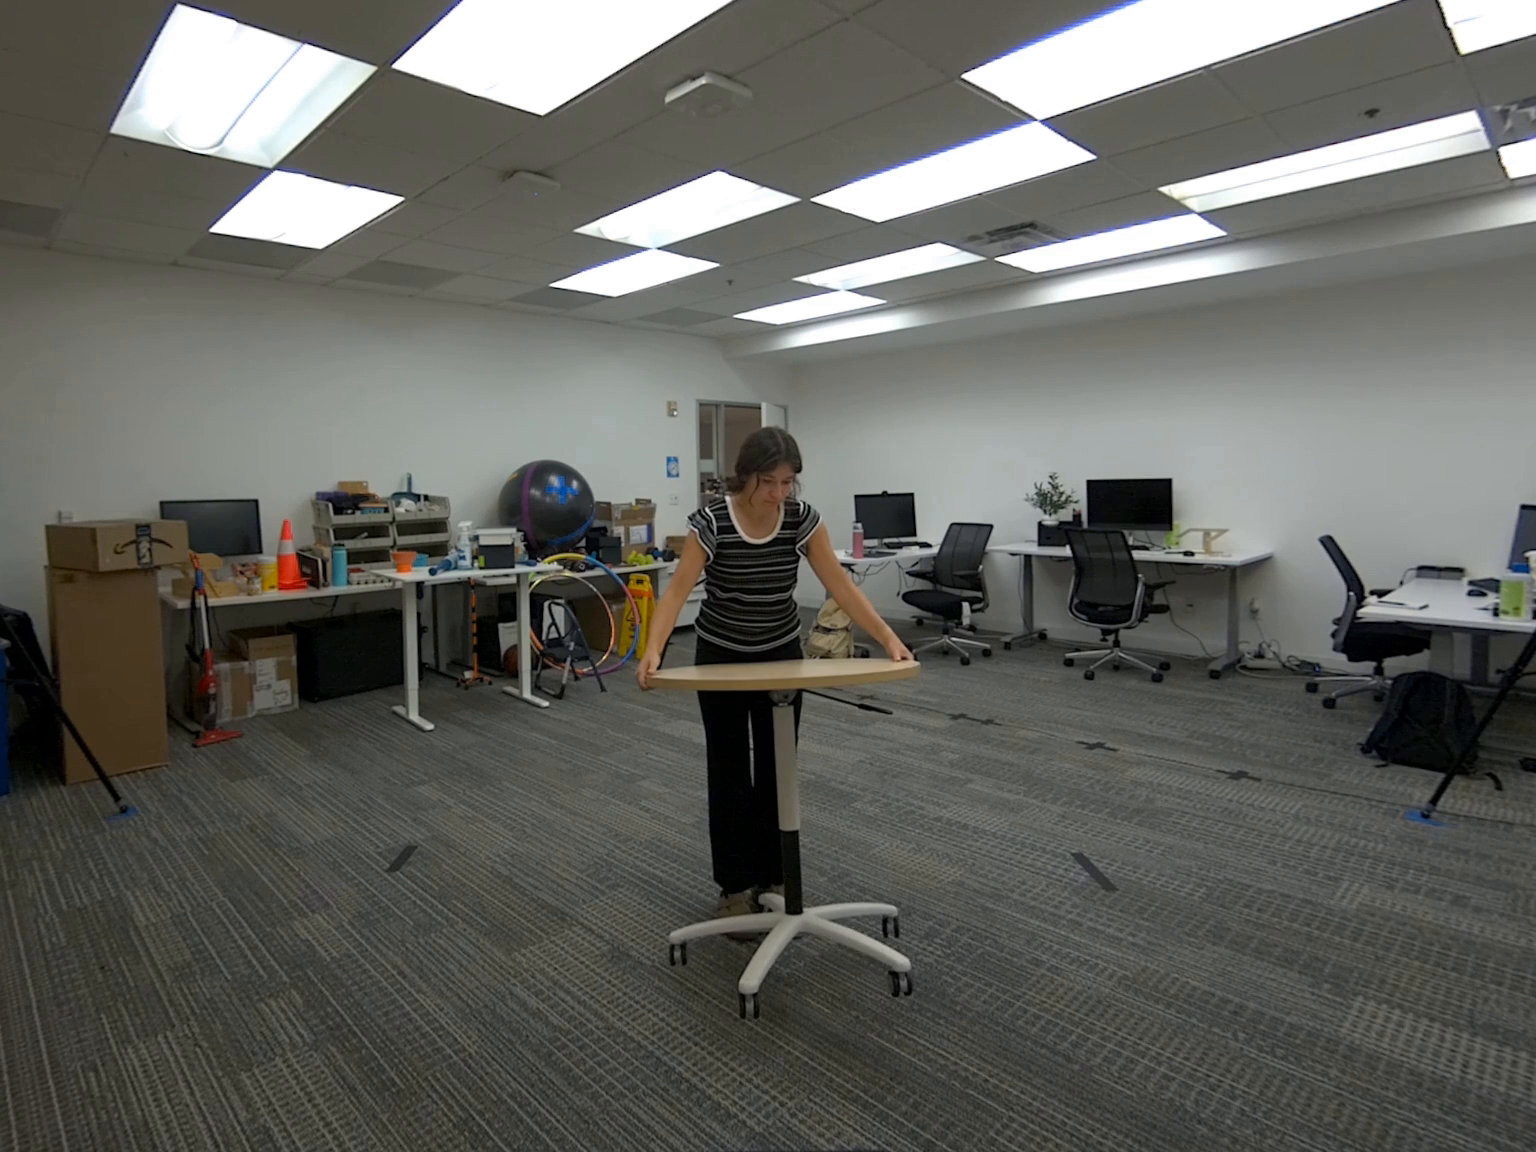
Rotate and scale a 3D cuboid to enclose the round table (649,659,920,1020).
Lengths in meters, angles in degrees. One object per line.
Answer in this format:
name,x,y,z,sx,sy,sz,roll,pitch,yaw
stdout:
round table,0.060,0.668,2.347,0.763,0.798,0.761,-3,-4,-2
